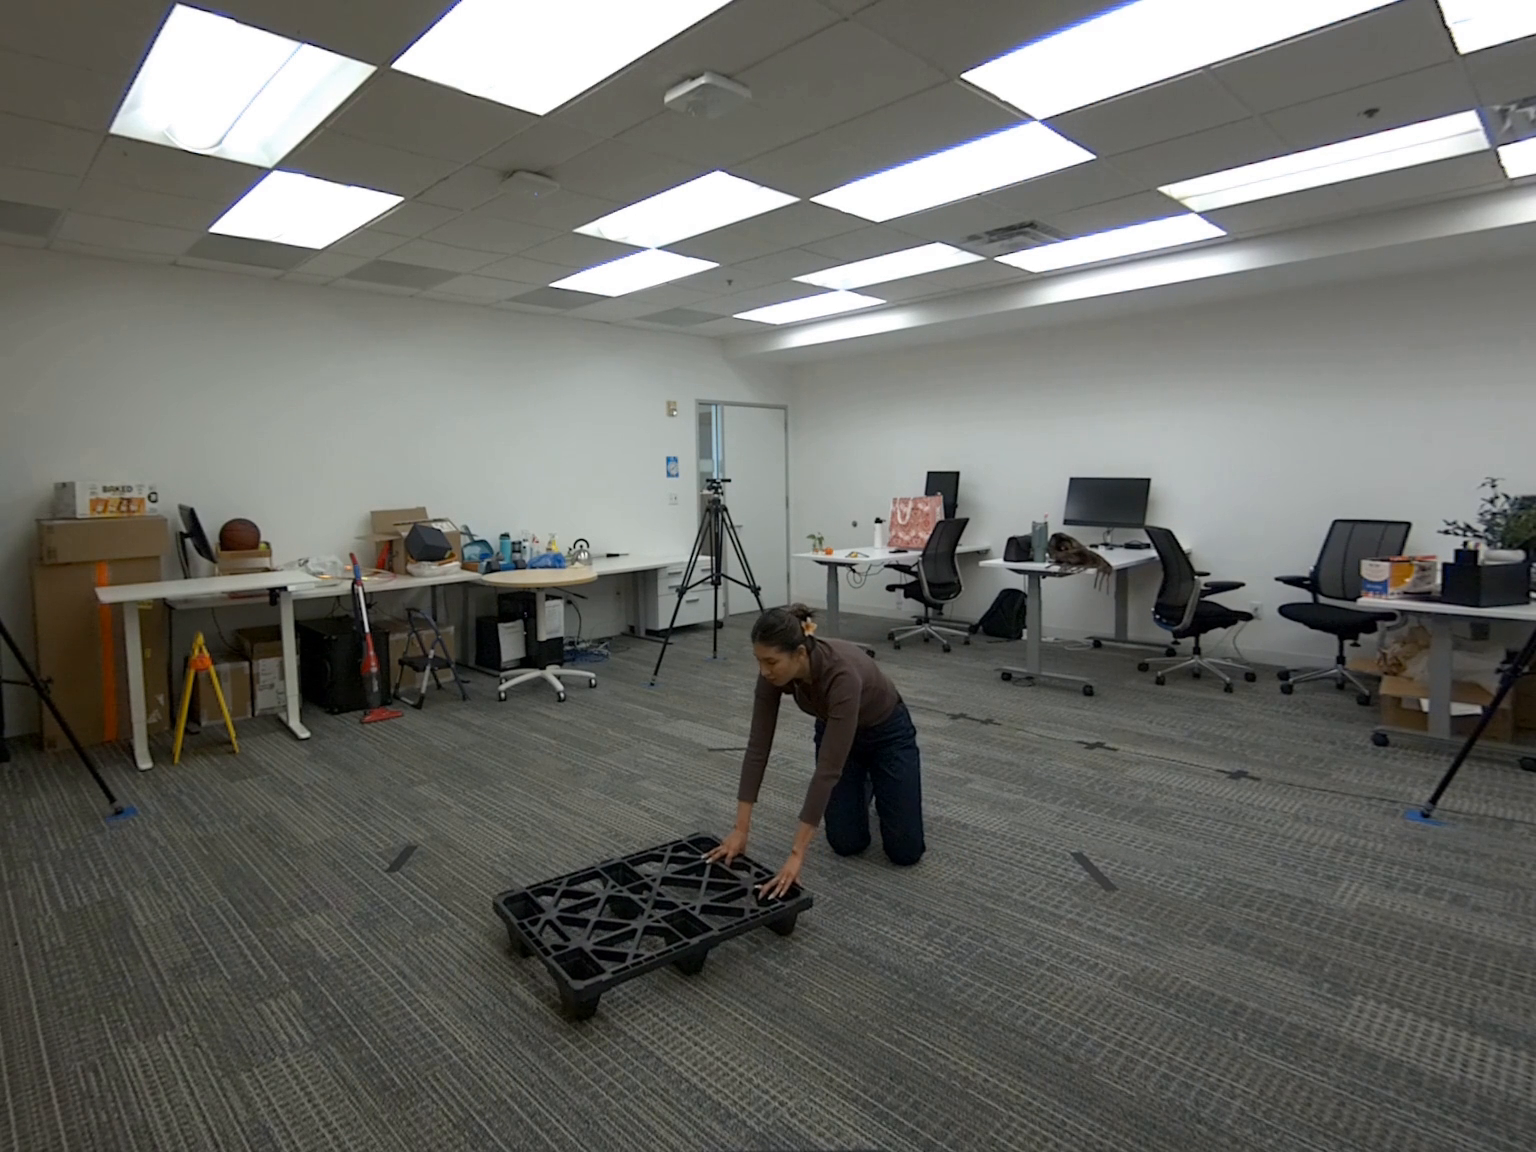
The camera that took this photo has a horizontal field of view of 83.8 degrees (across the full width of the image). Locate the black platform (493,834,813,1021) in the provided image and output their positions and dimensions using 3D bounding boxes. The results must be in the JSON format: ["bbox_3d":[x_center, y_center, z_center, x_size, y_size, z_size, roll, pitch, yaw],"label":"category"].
[{"bbox_3d":[-0.338,1.043,2.609,0.785,0.142,0.624,-7,9,-36],"label":"black platform"}]
